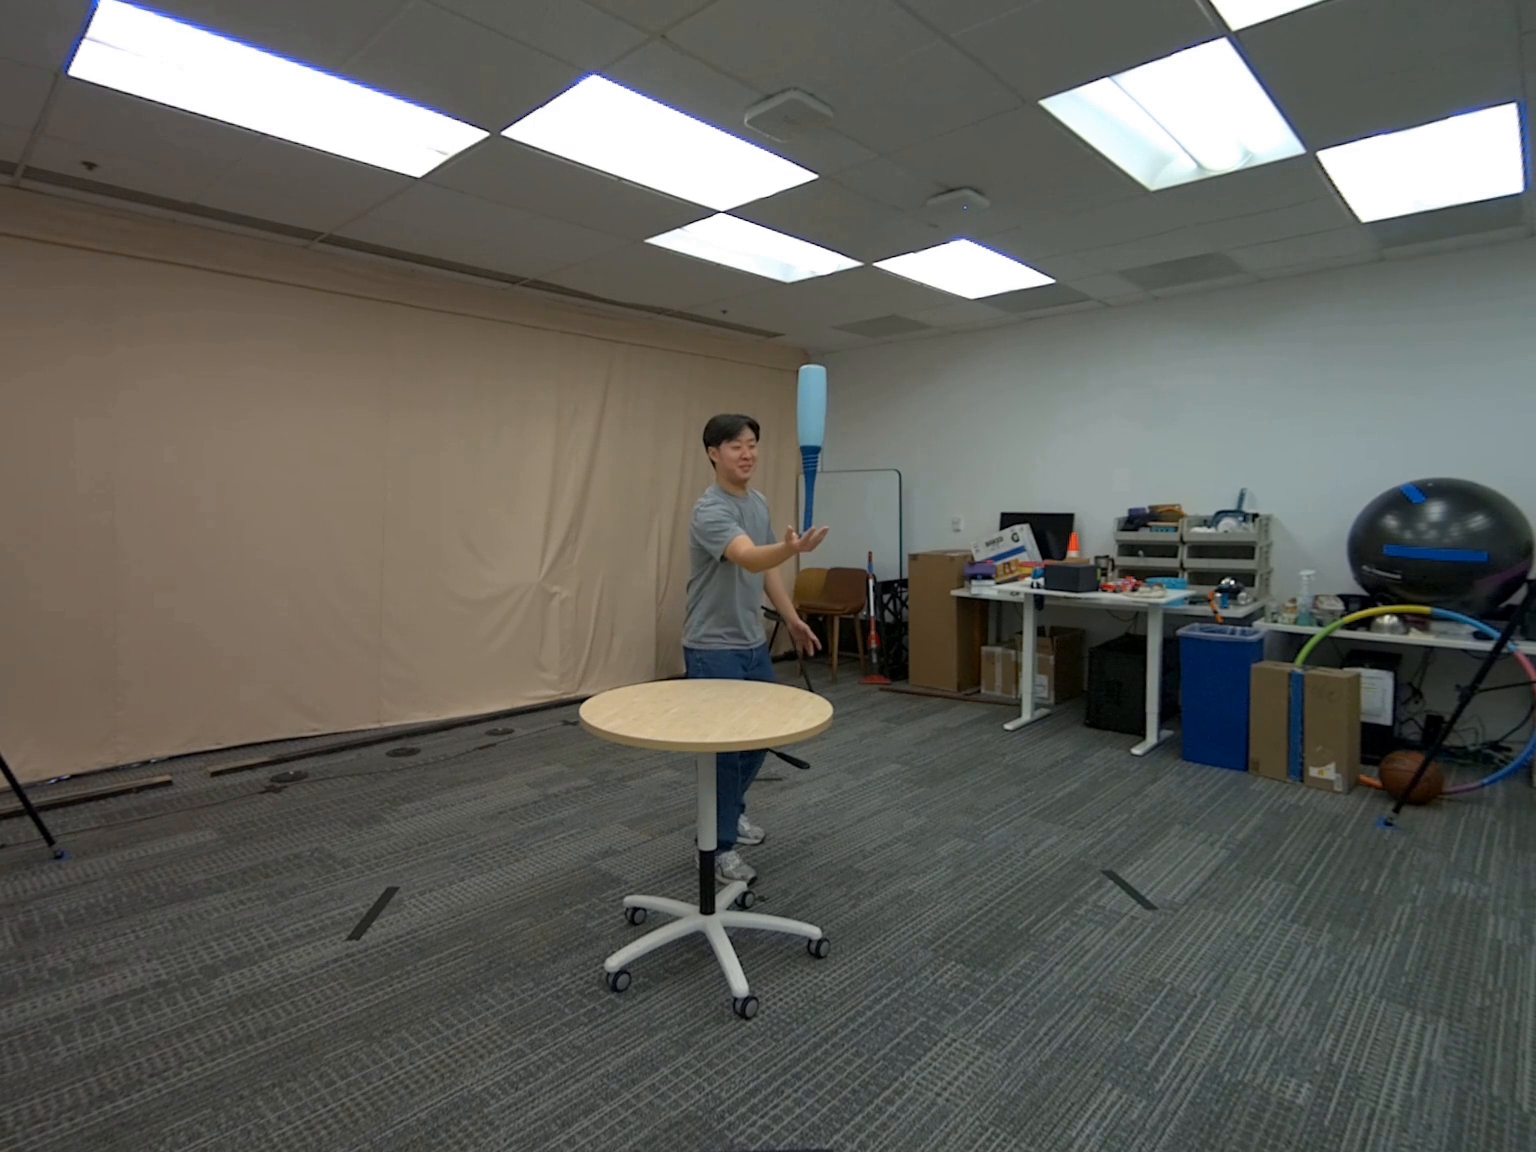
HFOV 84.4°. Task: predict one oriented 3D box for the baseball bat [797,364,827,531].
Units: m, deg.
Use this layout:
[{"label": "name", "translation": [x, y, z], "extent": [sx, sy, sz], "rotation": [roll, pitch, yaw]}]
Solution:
[{"label": "baseball bat", "translation": [0.141, -0.380, 2.604], "extent": [0.089, 0.543, 0.089], "rotation": [1, -1, -2]}]
